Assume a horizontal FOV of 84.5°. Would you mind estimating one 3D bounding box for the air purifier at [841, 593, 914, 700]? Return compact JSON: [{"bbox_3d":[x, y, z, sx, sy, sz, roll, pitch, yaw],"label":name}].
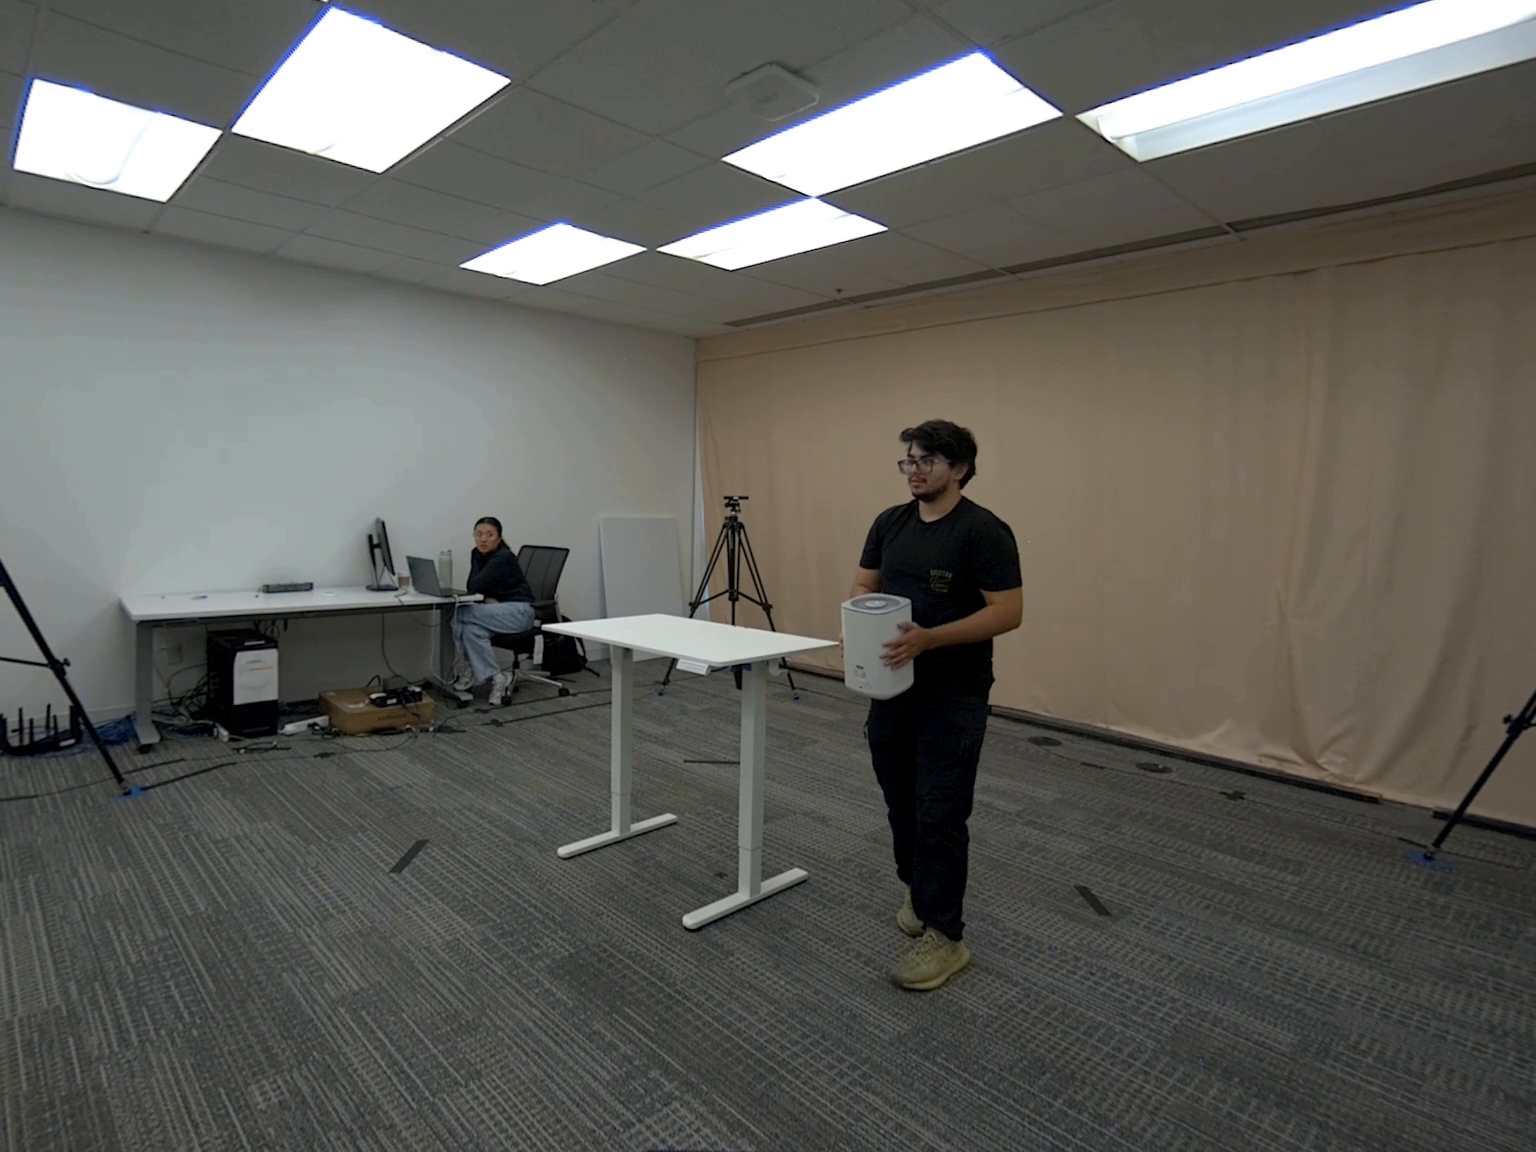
[{"bbox_3d":[0.319,0.206,2.438,0.175,0.263,0.169,8,18,44],"label":"air purifier"}]
